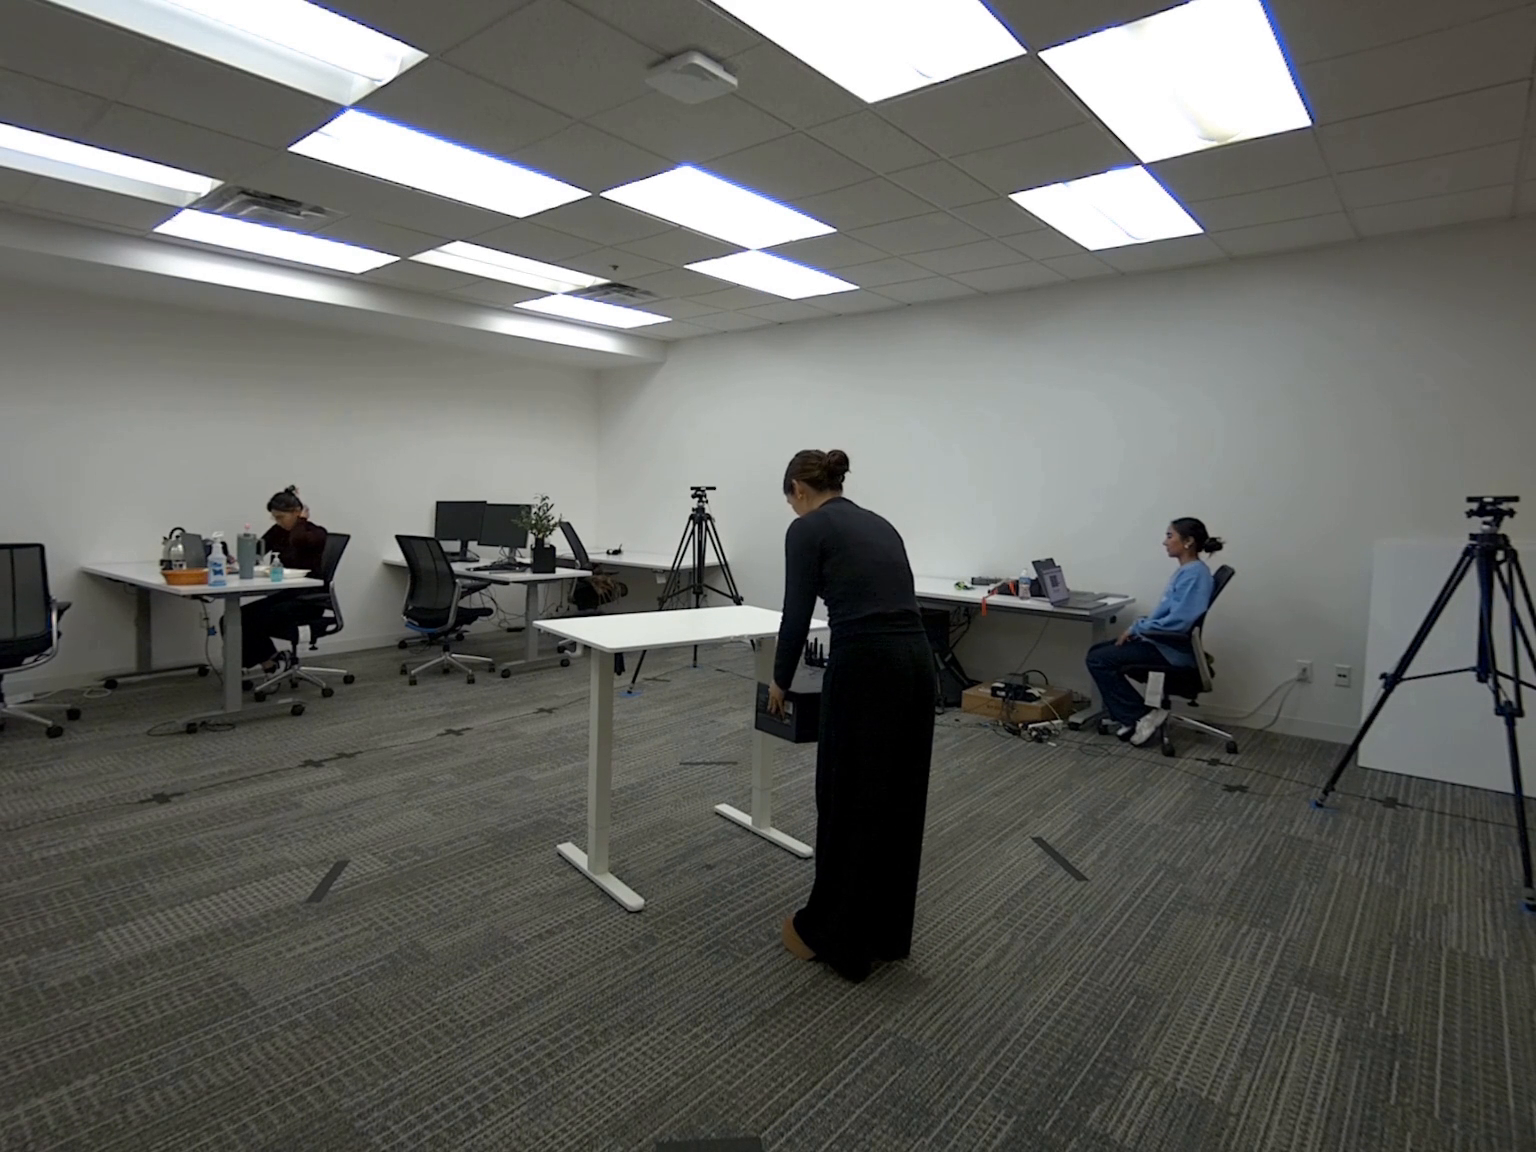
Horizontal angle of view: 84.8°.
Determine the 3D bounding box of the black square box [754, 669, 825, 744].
[{"bbox_3d":[0.107,0.427,2.727,0.221,0.156,0.224,3,1,-36],"label":"black square box"}]
